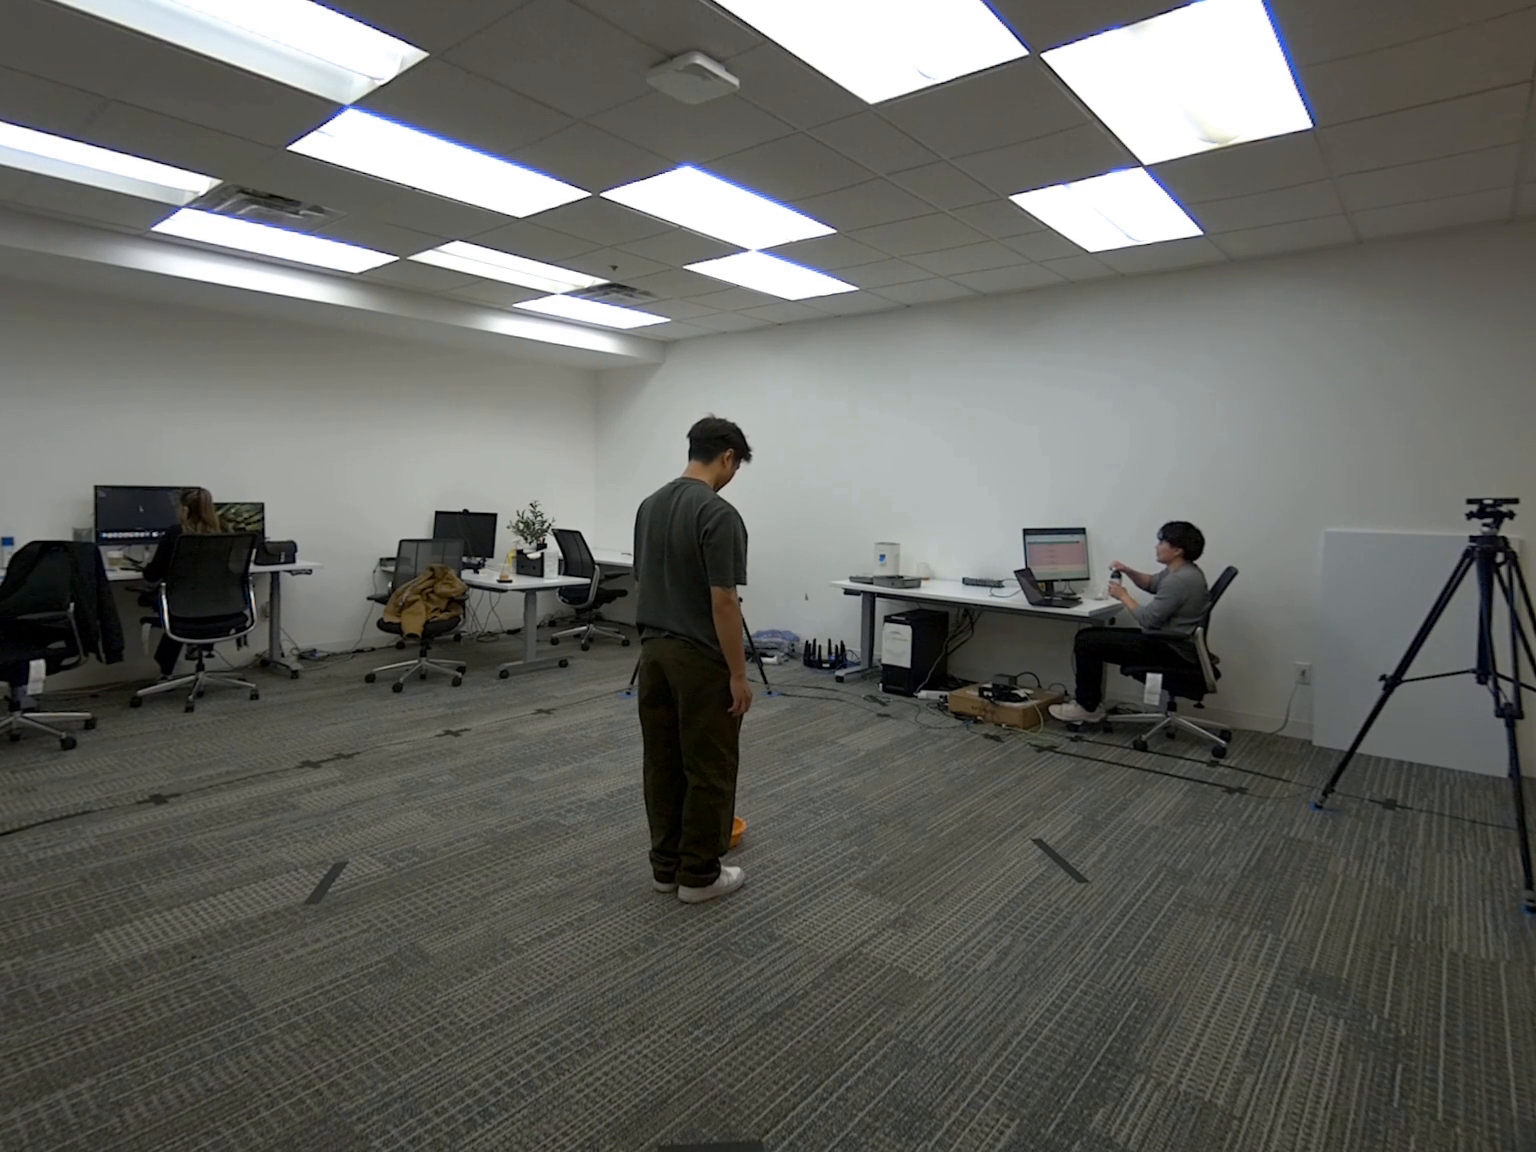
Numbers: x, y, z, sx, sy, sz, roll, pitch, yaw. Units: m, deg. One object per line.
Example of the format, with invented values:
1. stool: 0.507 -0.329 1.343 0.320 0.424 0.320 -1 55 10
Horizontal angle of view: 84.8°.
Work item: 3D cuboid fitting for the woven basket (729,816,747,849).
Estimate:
1. woven basket: -0.266 0.999 3.330 0.343 0.073 0.258 -1 5 -20
